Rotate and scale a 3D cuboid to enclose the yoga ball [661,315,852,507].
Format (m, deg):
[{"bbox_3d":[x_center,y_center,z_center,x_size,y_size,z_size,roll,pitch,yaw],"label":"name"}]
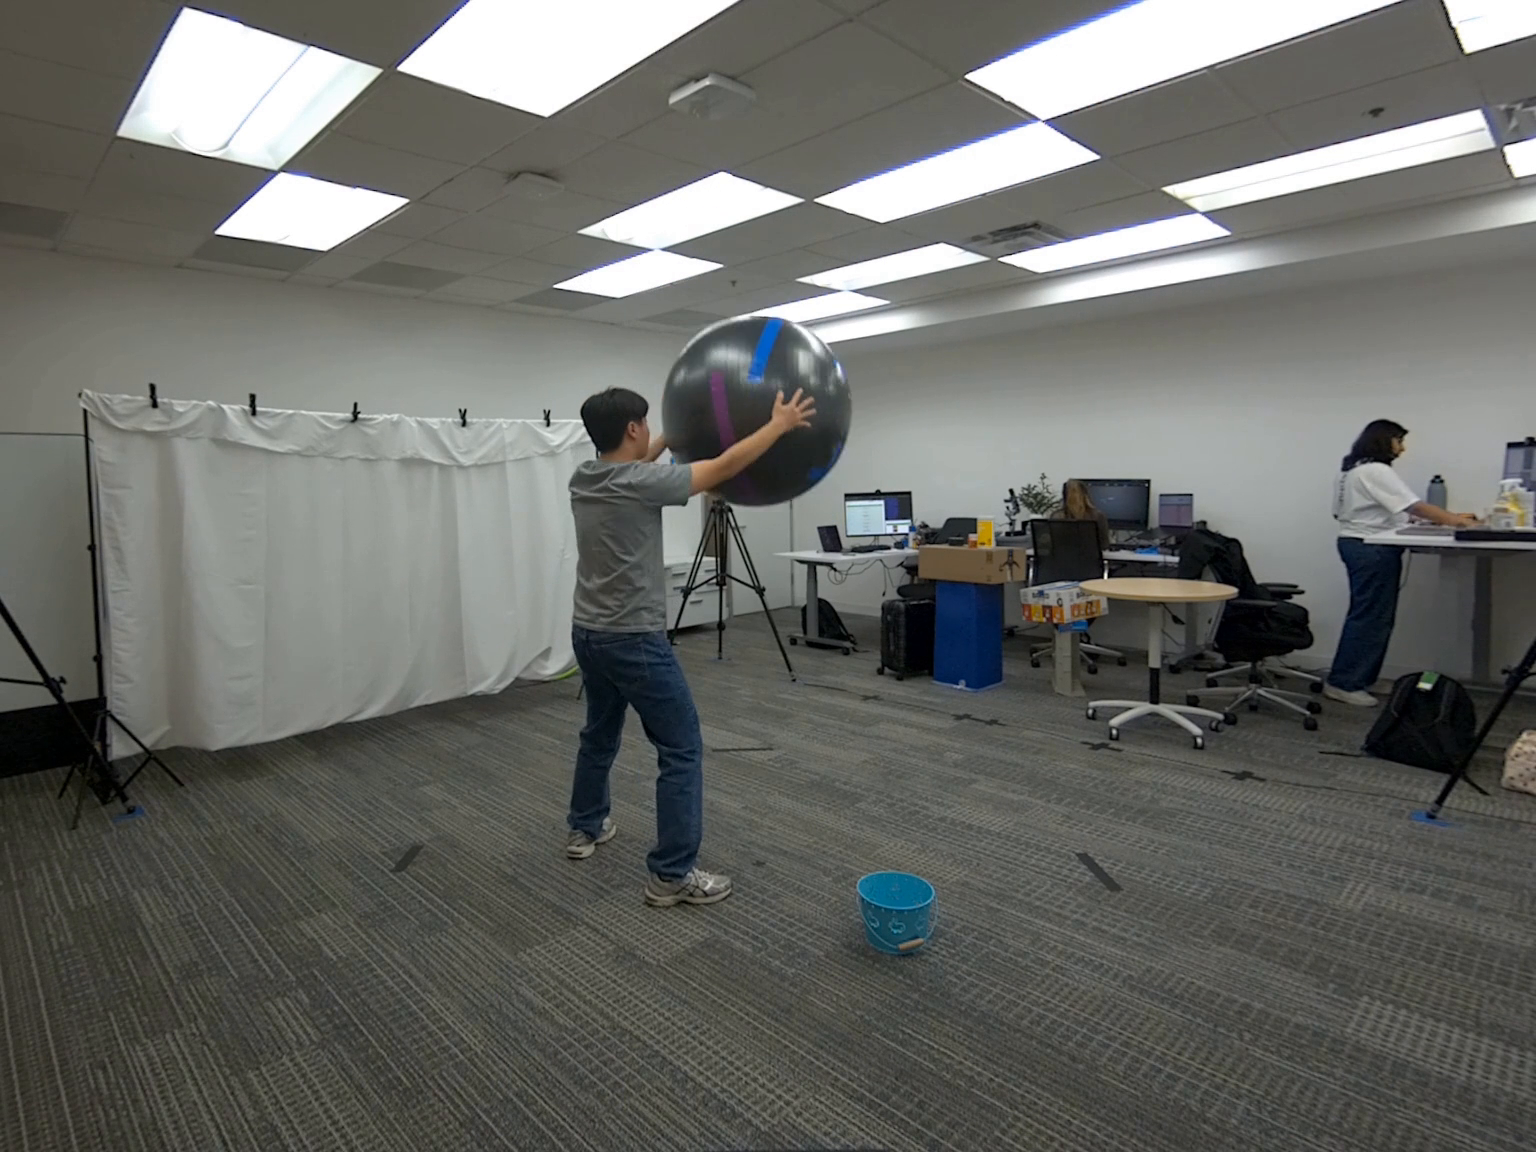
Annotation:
[{"bbox_3d":[-0.062,-0.633,3.409,0.757,0.755,0.762,-1,5,-2],"label":"yoga ball"}]
